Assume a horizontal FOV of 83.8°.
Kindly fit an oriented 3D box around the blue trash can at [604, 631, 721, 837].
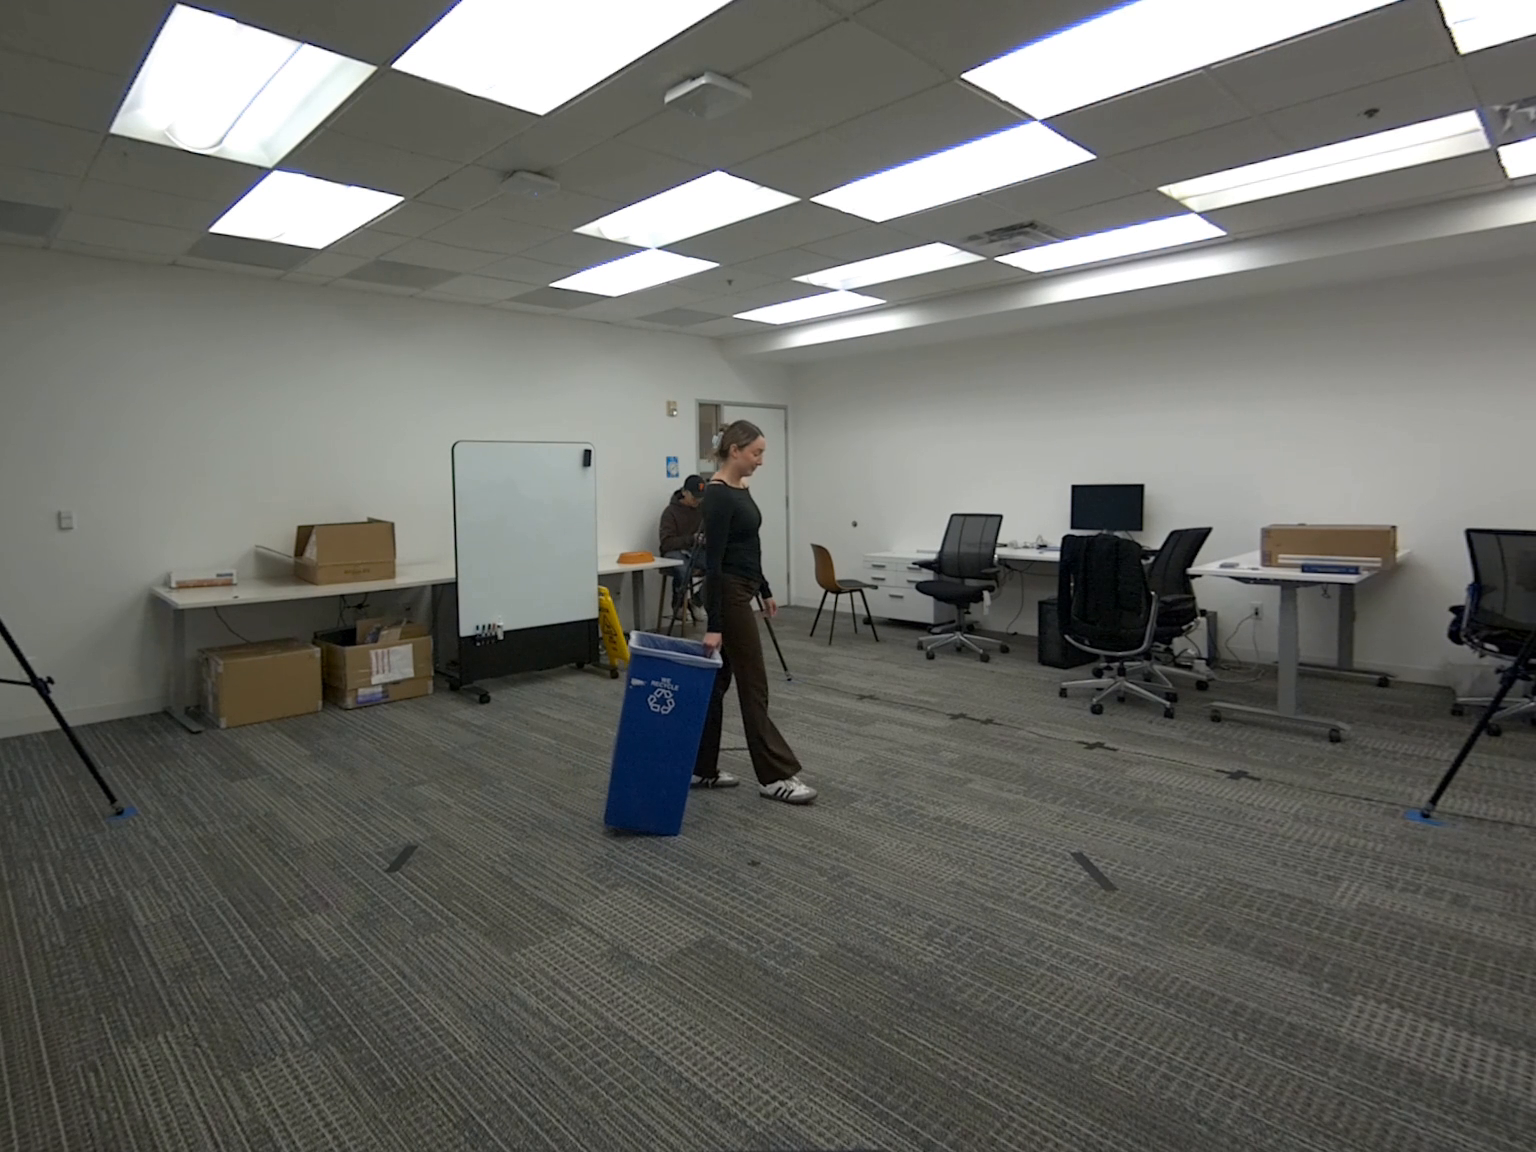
[{"bbox_3d":[-0.431,0.630,3.481,0.371,0.712,0.382,10,3,-7],"label":"blue trash can"}]
